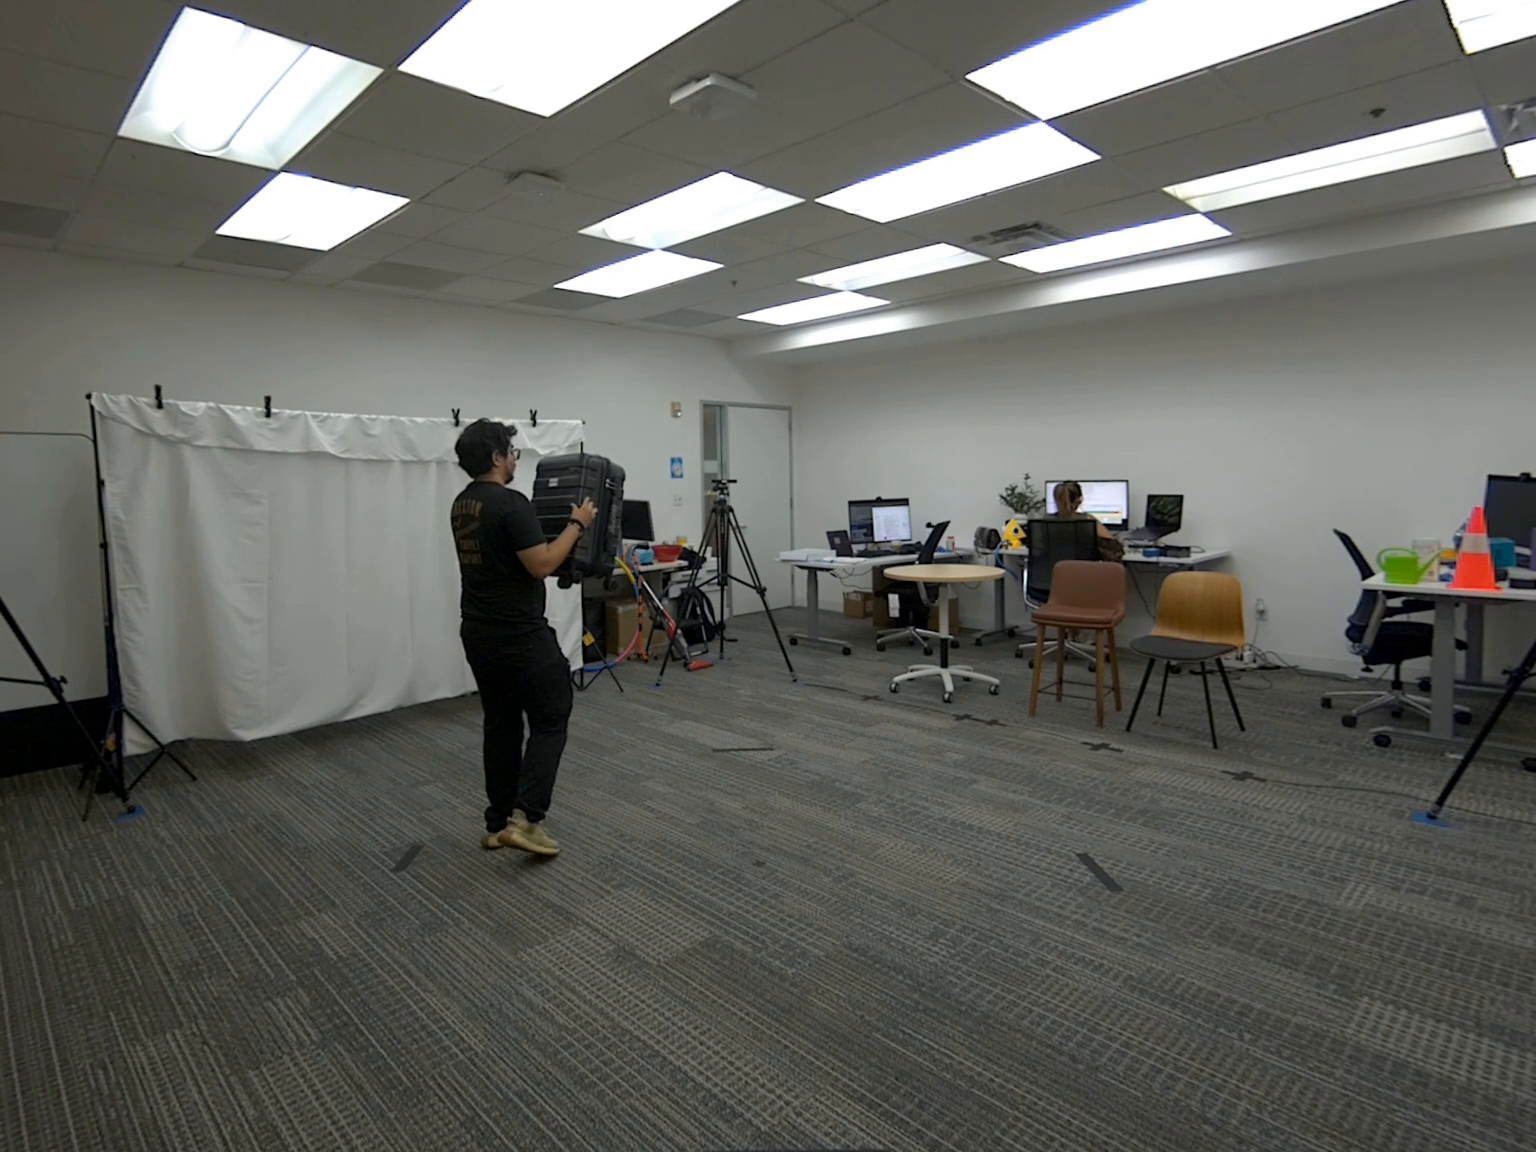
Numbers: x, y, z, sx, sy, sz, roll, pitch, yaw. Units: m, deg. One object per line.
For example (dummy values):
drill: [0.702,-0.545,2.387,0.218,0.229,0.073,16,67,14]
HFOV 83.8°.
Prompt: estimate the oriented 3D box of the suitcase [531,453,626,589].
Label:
suitcase: [-0.806,-0.234,3.564,0.386,0.553,0.240,1,-9,40]
